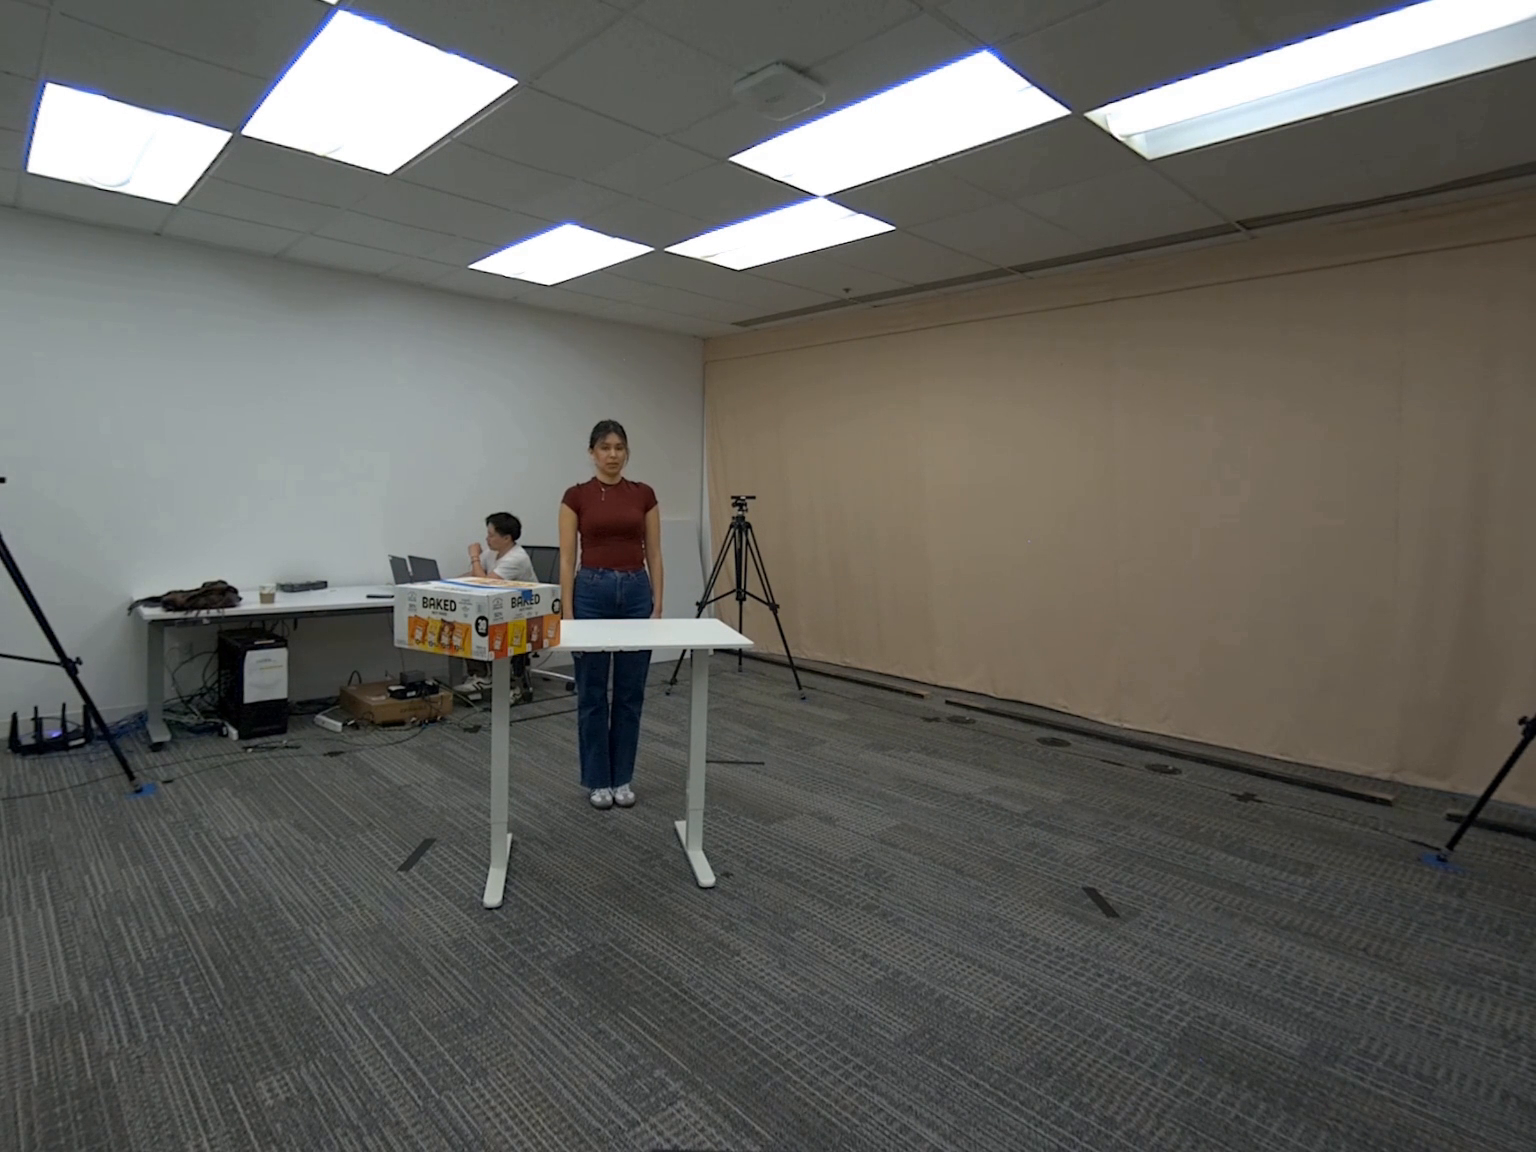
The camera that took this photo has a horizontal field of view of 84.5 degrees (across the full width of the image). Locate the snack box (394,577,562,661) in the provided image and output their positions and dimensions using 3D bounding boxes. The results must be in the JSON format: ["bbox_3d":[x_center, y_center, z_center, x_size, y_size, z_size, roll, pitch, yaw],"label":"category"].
[{"bbox_3d":[-0.958,0.131,2.776,0.413,0.205,0.334,4,5,27],"label":"snack box"}]
